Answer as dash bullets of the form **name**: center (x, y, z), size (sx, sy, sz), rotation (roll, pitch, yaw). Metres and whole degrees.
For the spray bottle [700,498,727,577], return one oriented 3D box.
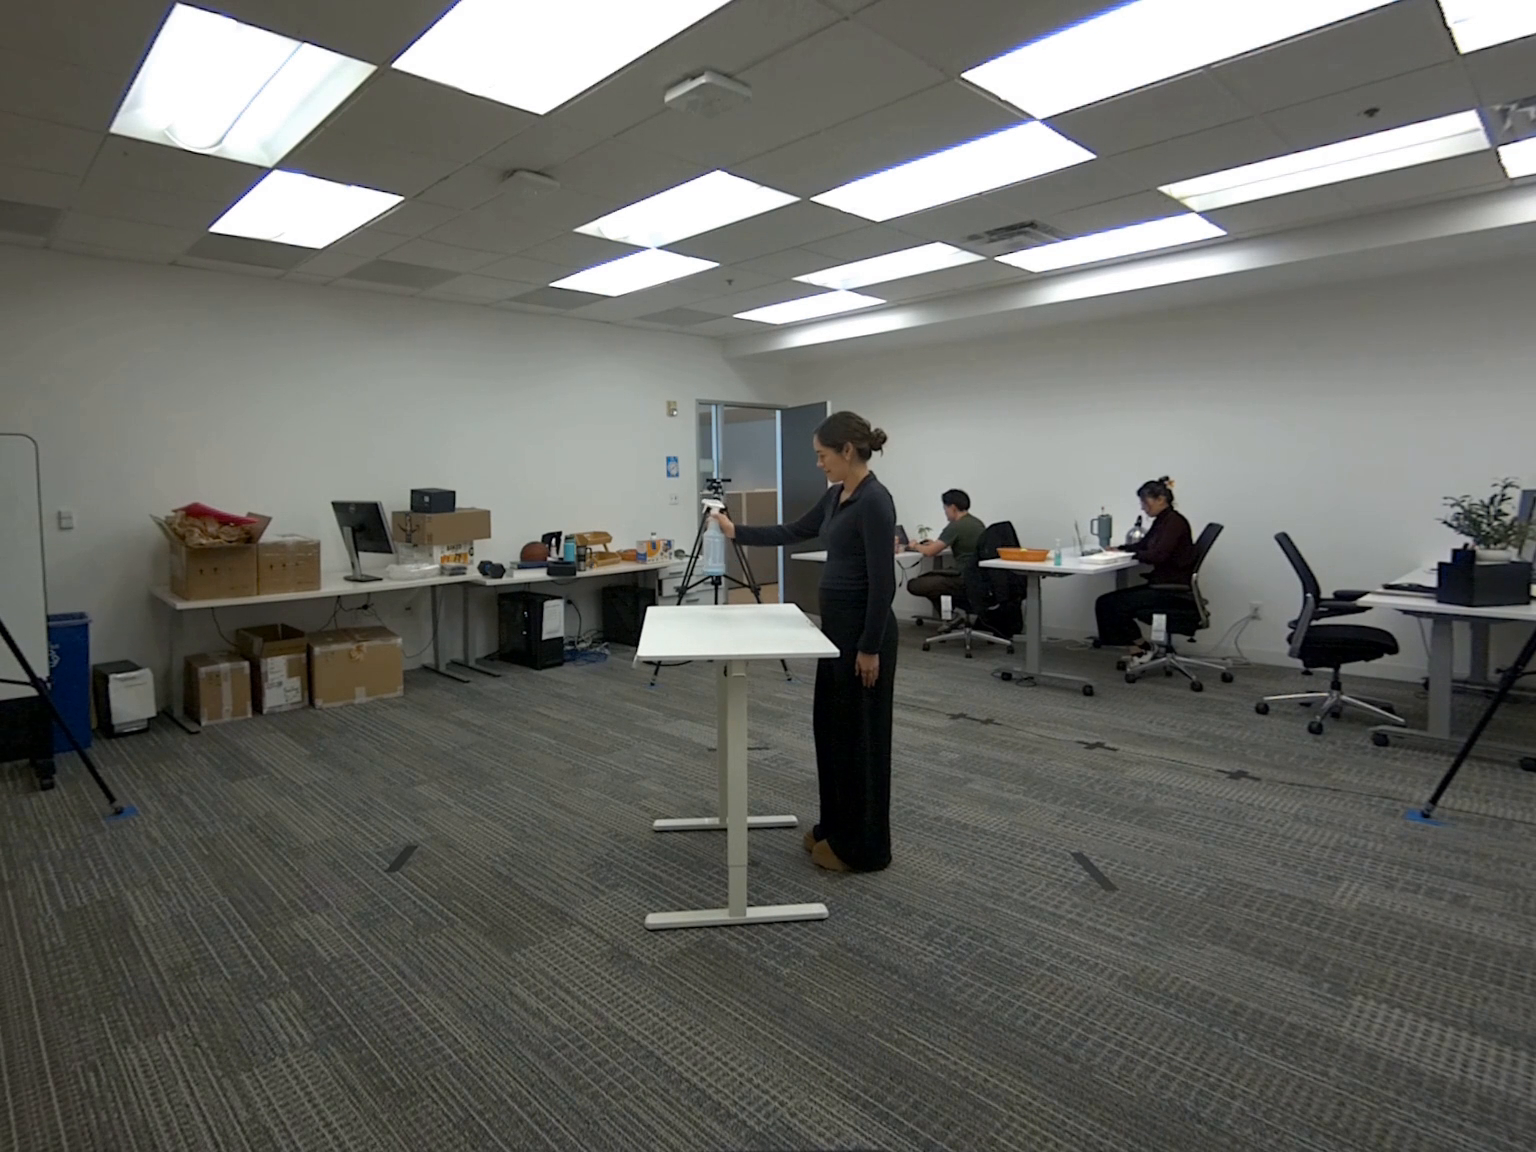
- **spray bottle**: center (-0.210, -0.152, 3.387), size (0.091, 0.296, 0.086), rotation (1, 3, 8)
